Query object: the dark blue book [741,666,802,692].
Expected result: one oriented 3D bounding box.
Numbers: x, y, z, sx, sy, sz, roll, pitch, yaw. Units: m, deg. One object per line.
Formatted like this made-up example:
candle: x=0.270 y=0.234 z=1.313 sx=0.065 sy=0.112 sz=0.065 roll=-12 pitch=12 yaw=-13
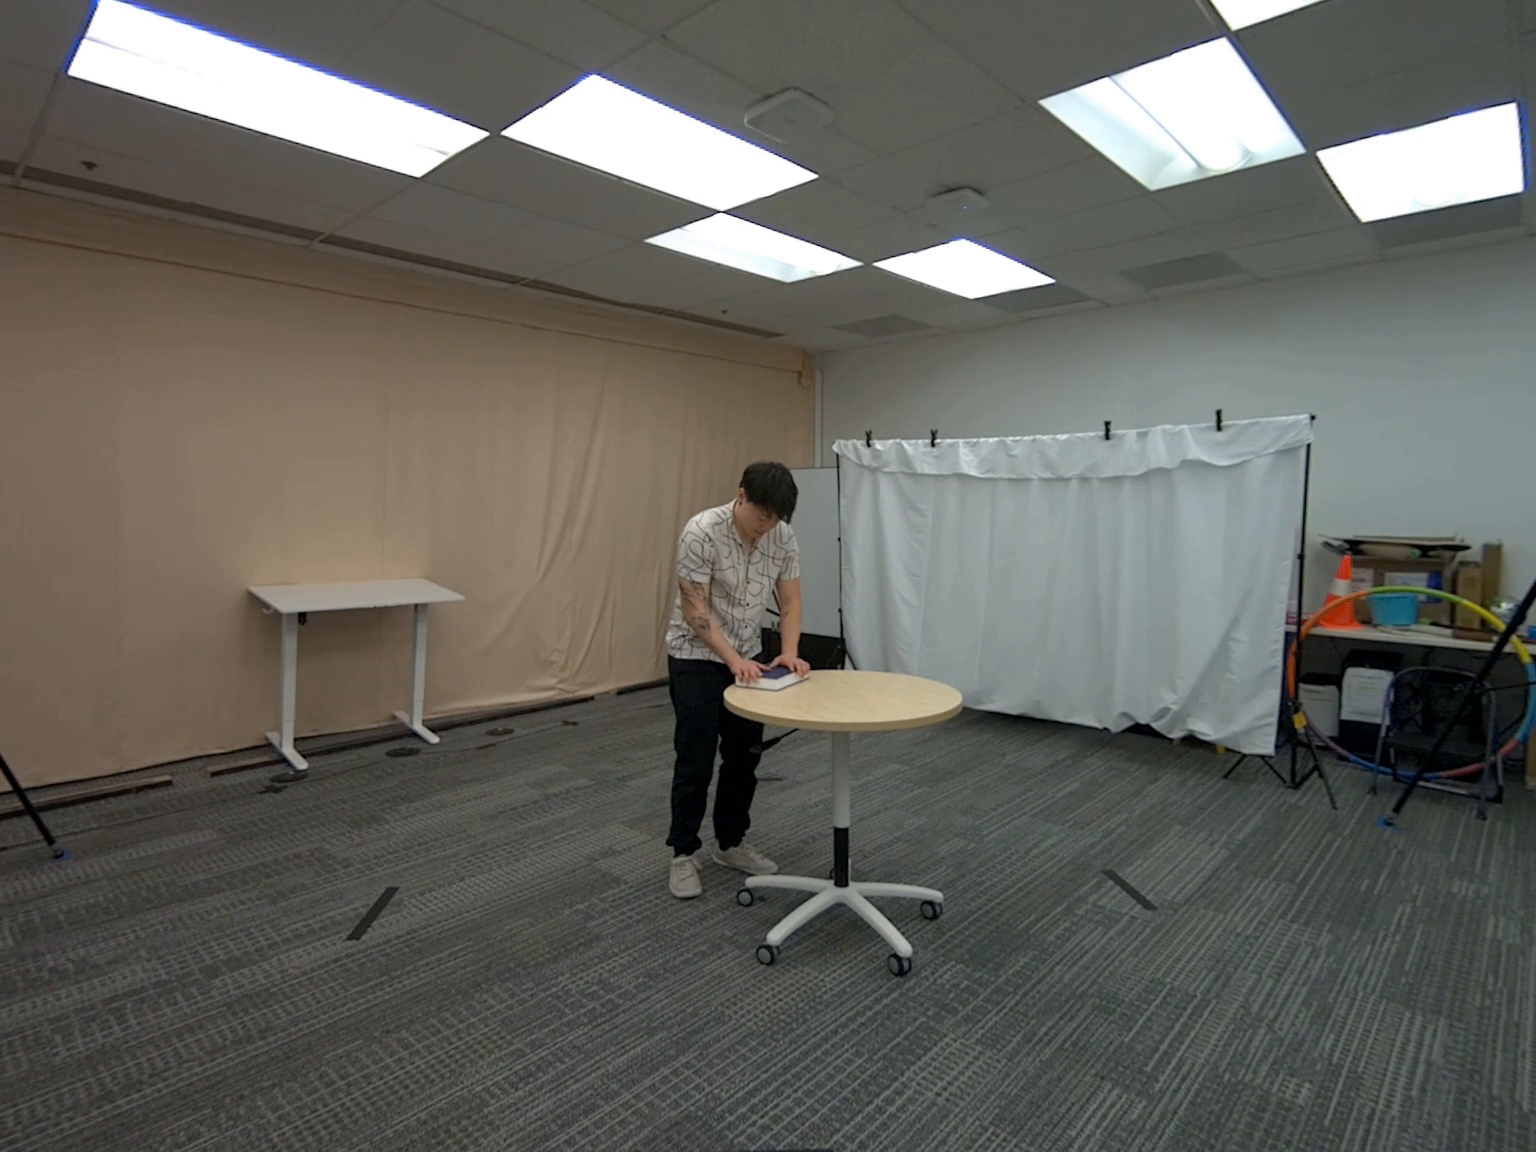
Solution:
dark blue book: x=0.015 y=0.356 z=2.920 sx=0.168 sy=0.045 sz=0.239 roll=1 pitch=4 yaw=26
